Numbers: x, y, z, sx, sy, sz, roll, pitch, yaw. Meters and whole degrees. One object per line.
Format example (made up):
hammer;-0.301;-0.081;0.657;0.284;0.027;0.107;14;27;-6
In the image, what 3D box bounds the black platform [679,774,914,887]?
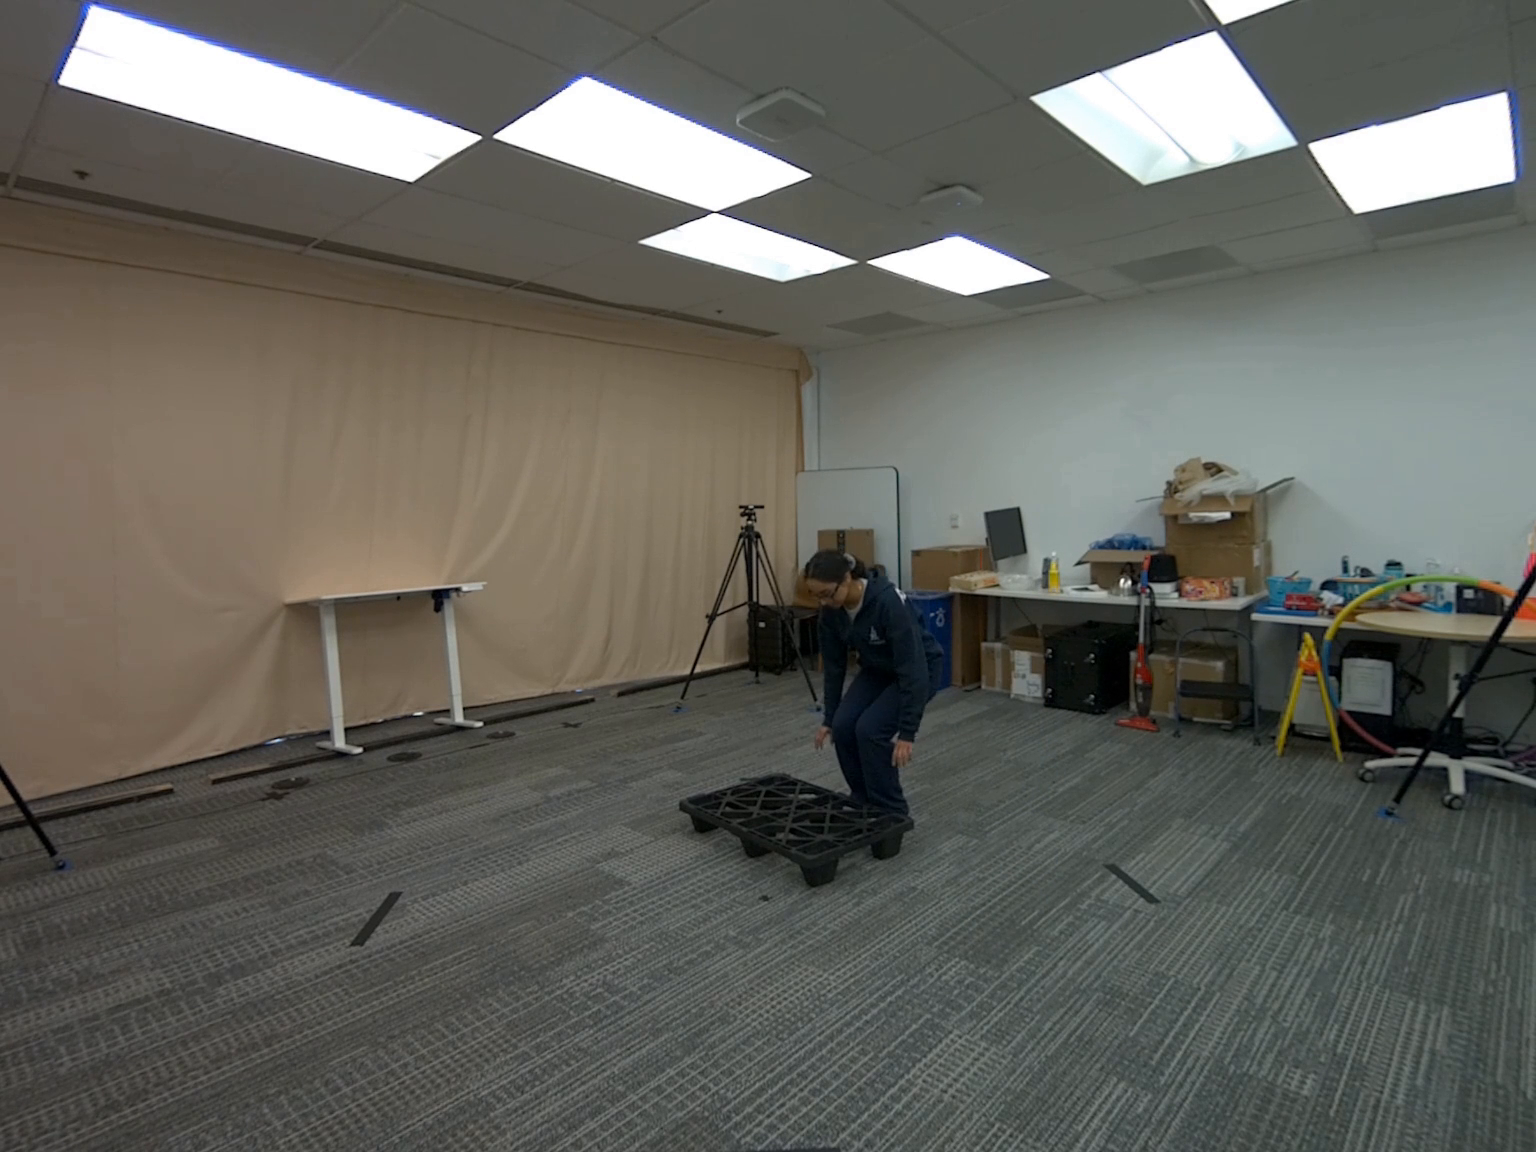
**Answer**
black platform;0.101;1.031;3.469;0.587;0.143;0.832;-5;6;-39
